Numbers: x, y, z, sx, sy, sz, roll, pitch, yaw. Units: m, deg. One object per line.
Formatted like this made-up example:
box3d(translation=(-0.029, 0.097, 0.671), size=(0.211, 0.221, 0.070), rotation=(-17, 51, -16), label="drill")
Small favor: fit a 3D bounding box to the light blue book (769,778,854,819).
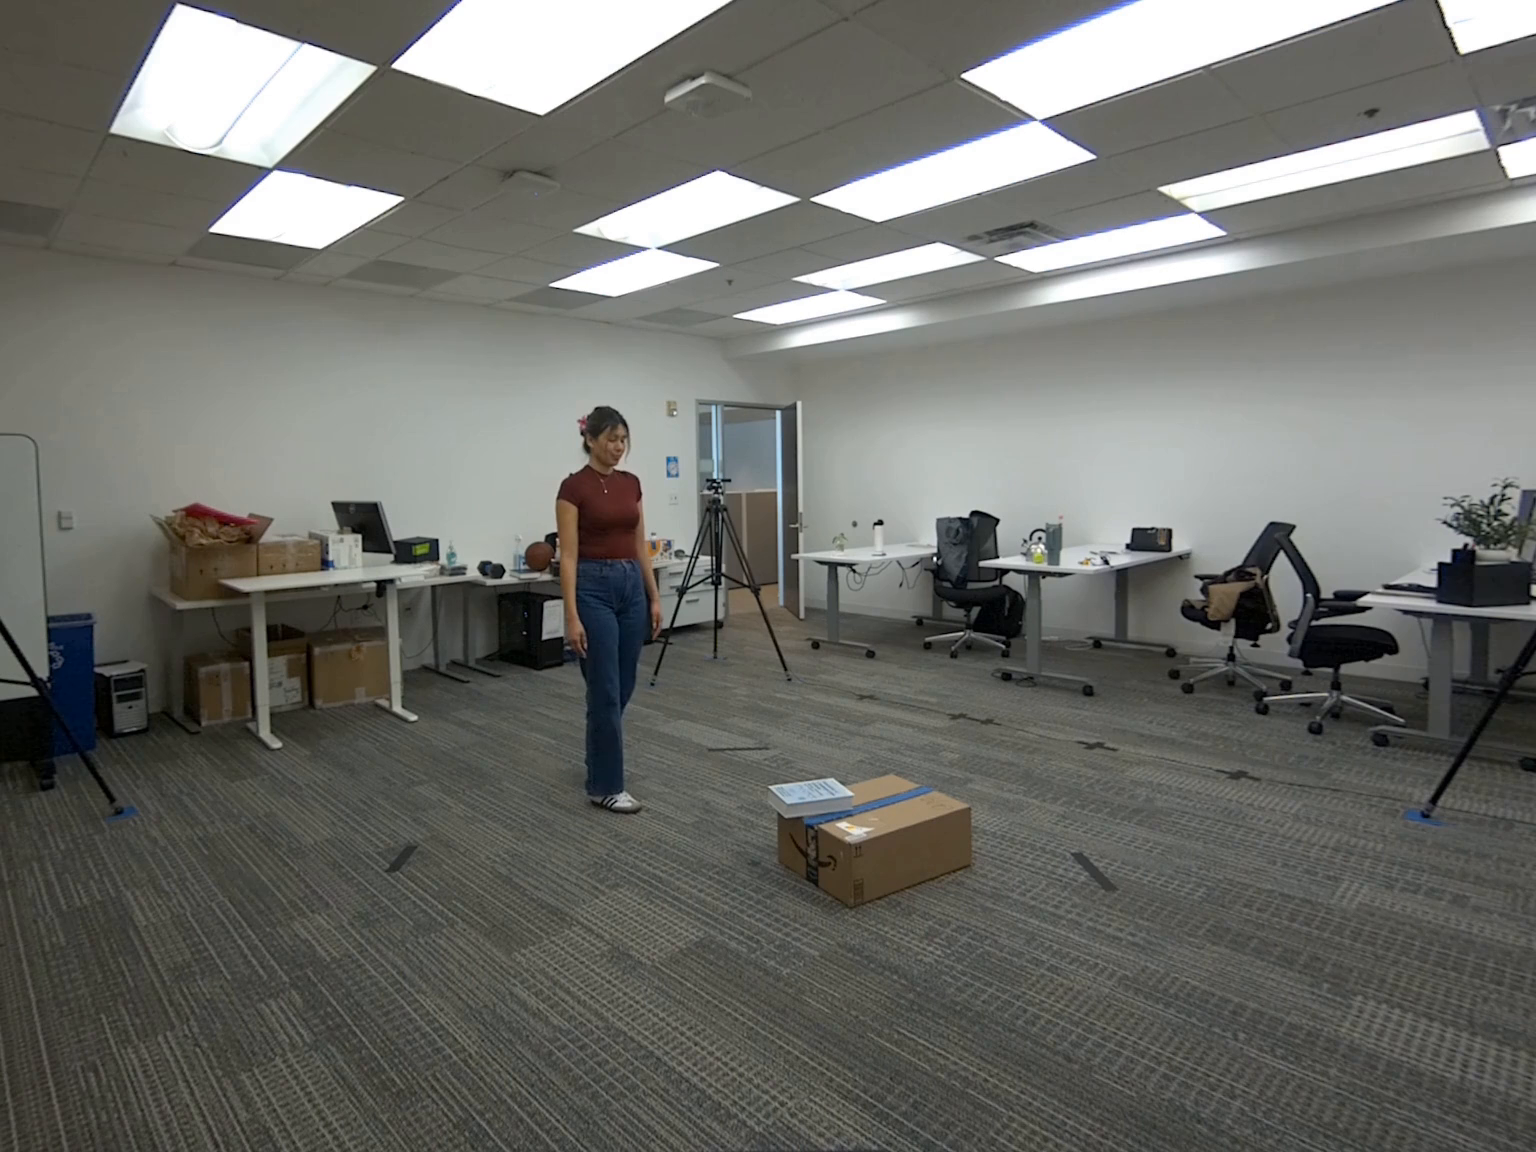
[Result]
box3d(translation=(0.152, 0.789, 3.080), size=(0.256, 0.059, 0.195), rotation=(-3, 6, -20), label="light blue book")
